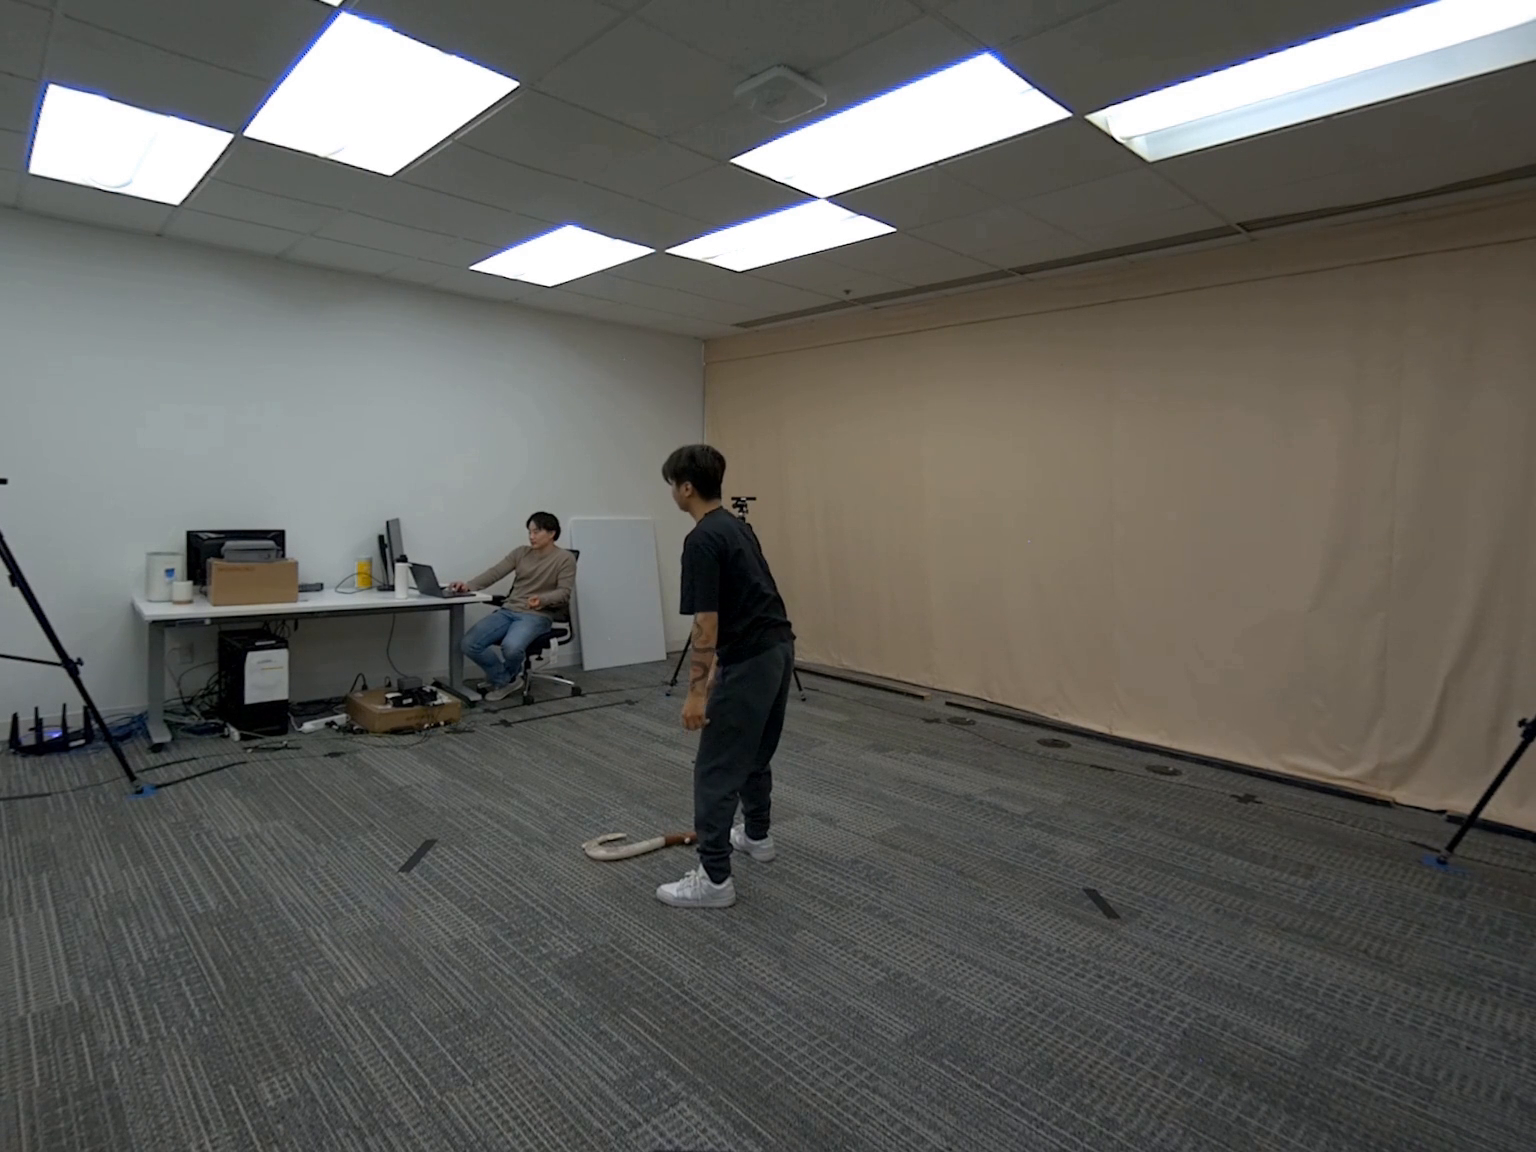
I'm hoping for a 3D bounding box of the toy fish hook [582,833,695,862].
[{"bbox_3d":[-0.491,1.053,3.364,0.497,0.048,0.230,-1,7,-26],"label":"toy fish hook"}]
